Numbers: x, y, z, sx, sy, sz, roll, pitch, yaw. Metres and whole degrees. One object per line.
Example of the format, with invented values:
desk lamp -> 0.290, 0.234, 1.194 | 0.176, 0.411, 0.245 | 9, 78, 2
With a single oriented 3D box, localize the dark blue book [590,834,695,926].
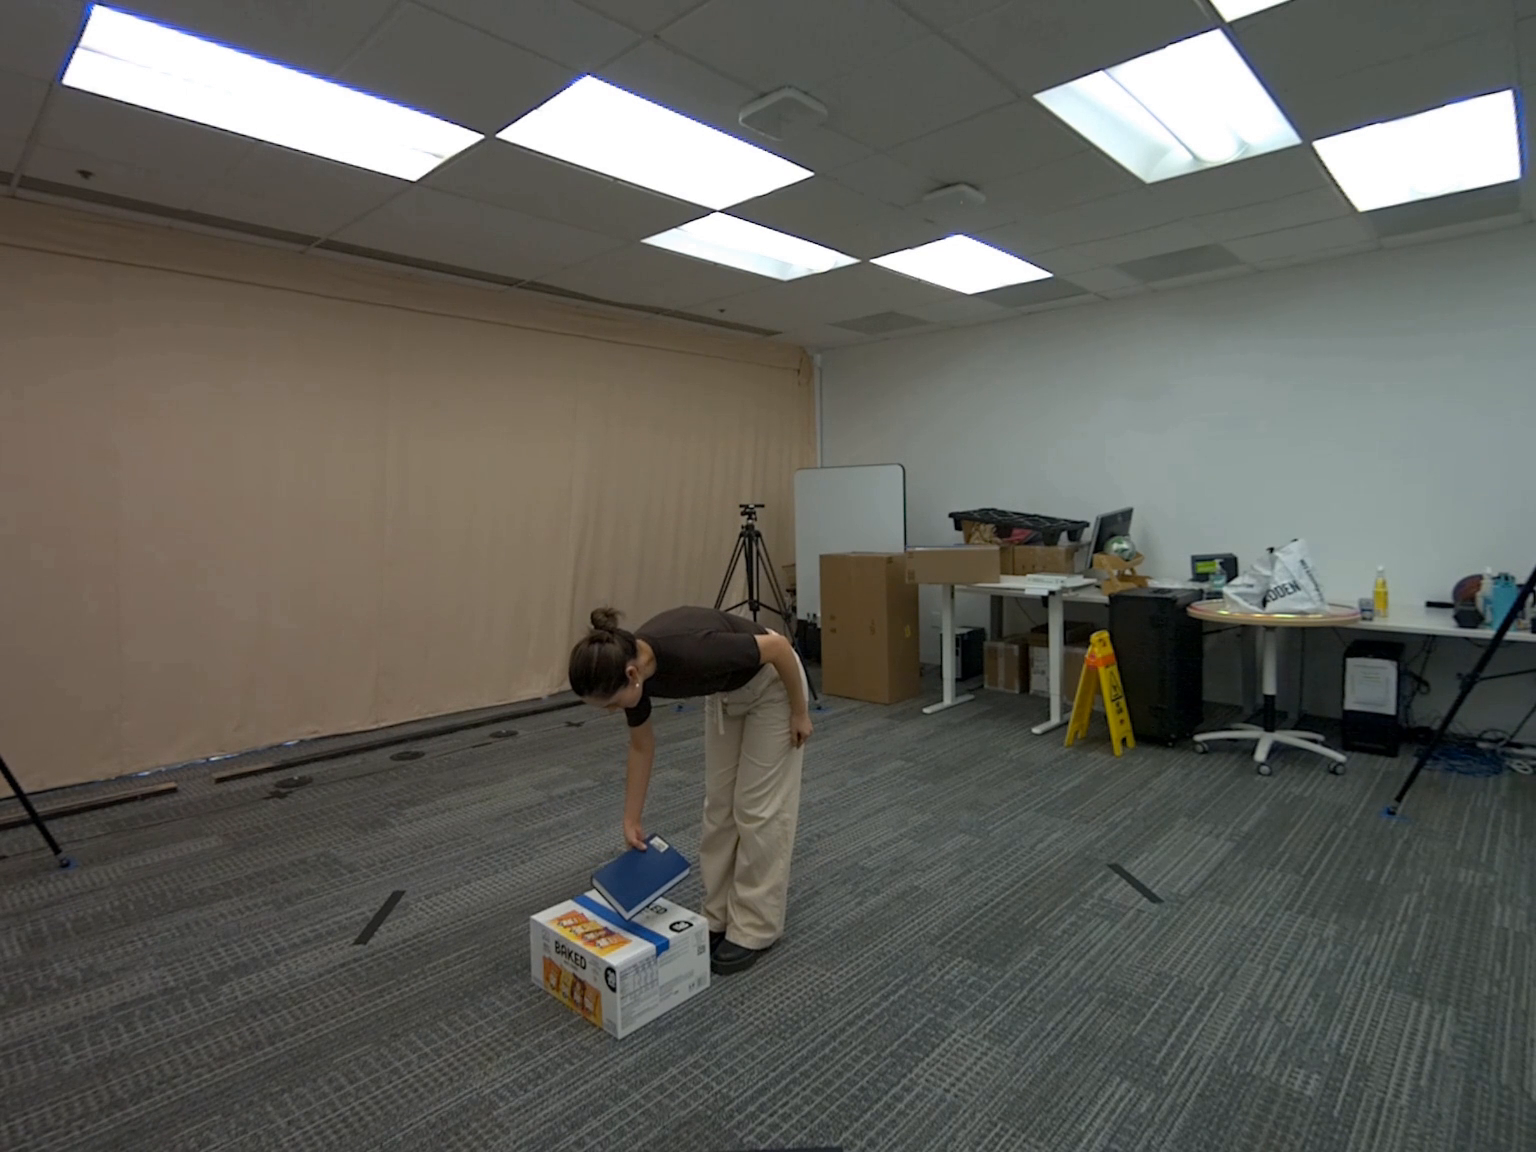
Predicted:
dark blue book -> -0.359, 0.863, 2.423 | 0.239, 0.044, 0.169 | -21, 41, -40
